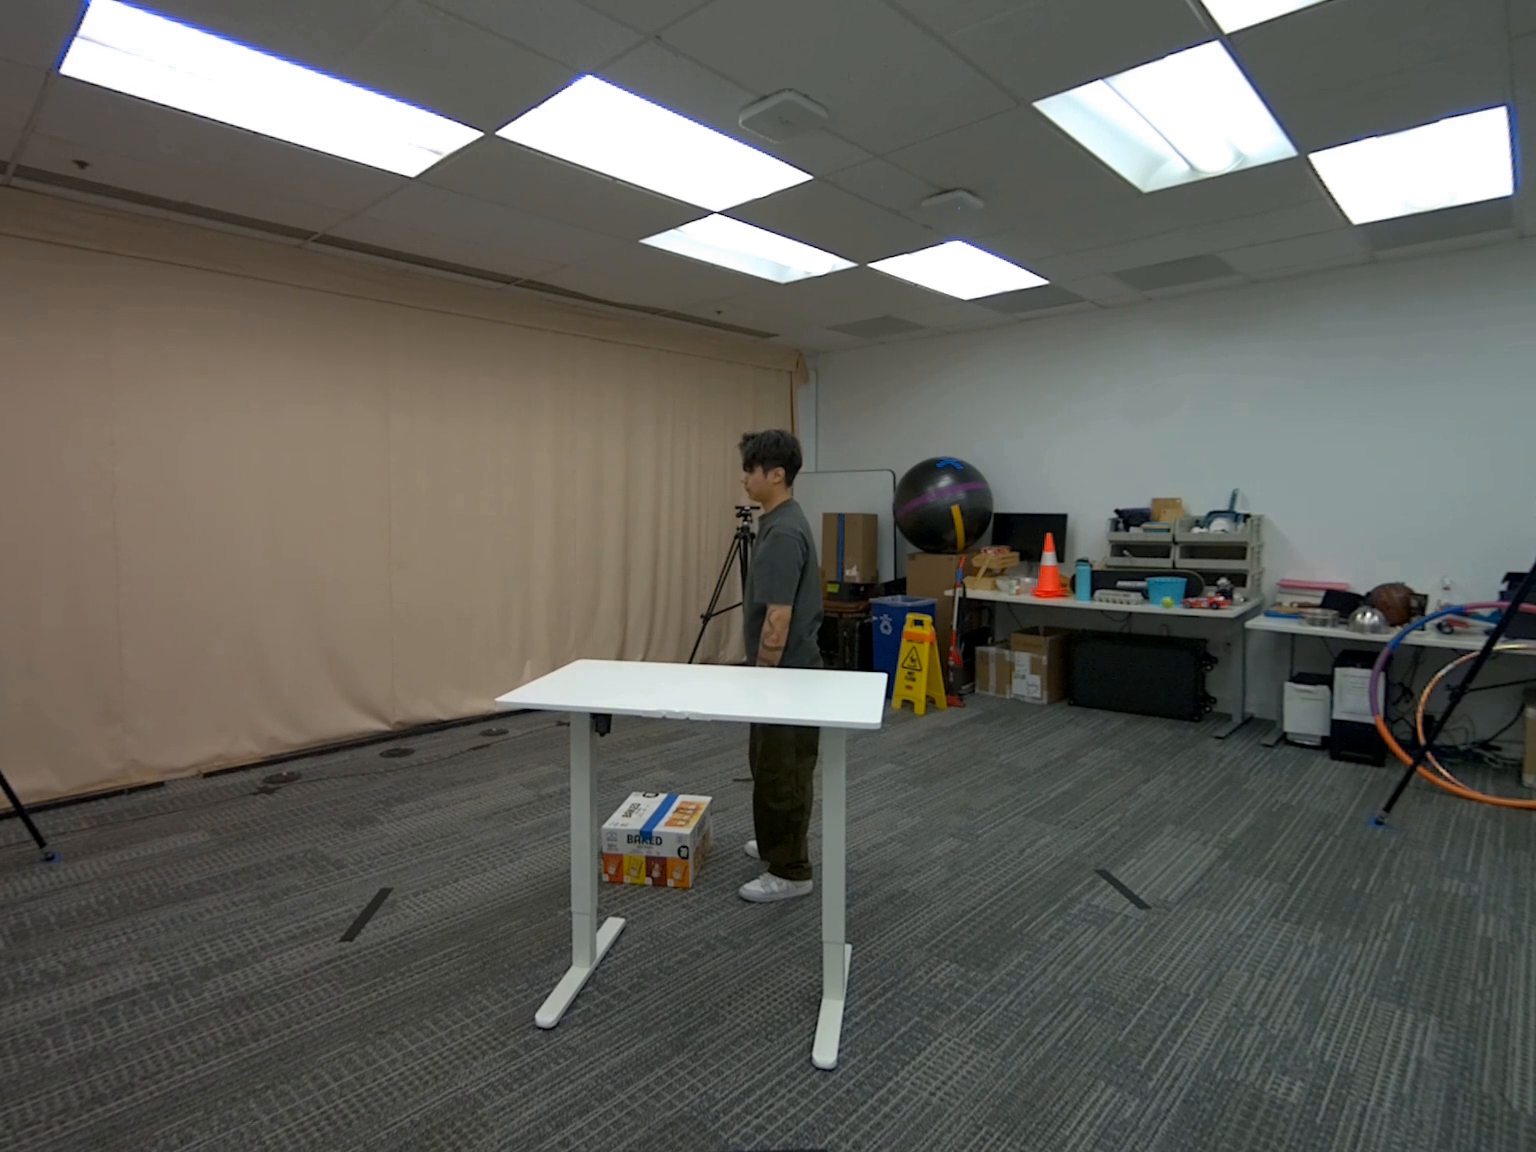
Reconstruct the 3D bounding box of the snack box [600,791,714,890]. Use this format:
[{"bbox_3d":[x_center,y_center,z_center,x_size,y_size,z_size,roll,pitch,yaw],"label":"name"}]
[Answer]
[{"bbox_3d":[-0.422,1.014,3.295,0.344,0.205,0.402,0,5,9],"label":"snack box"}]
